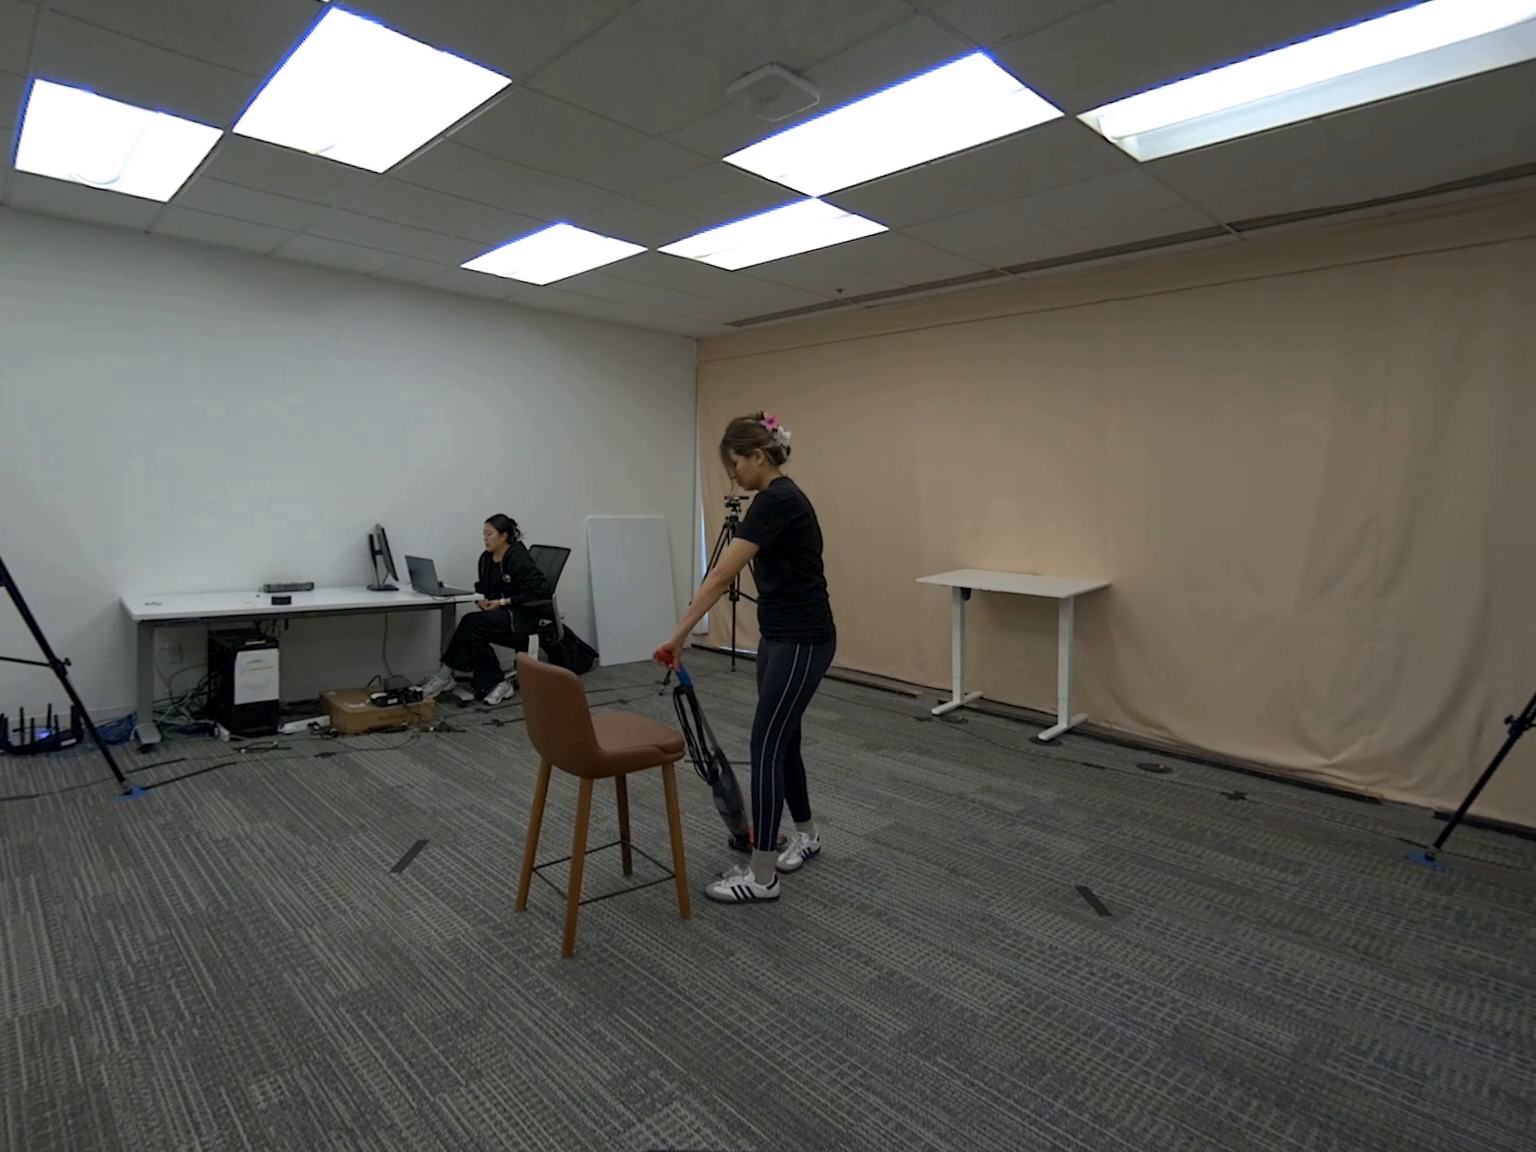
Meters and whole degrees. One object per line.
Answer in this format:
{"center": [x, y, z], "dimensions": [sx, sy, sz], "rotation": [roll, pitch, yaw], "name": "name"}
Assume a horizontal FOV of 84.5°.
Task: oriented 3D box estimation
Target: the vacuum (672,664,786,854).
{"center": [-0.212, 0.659, 3.092], "dimensions": [0.259, 1.022, 0.144], "rotation": [7, 42, 33], "name": "vacuum"}
